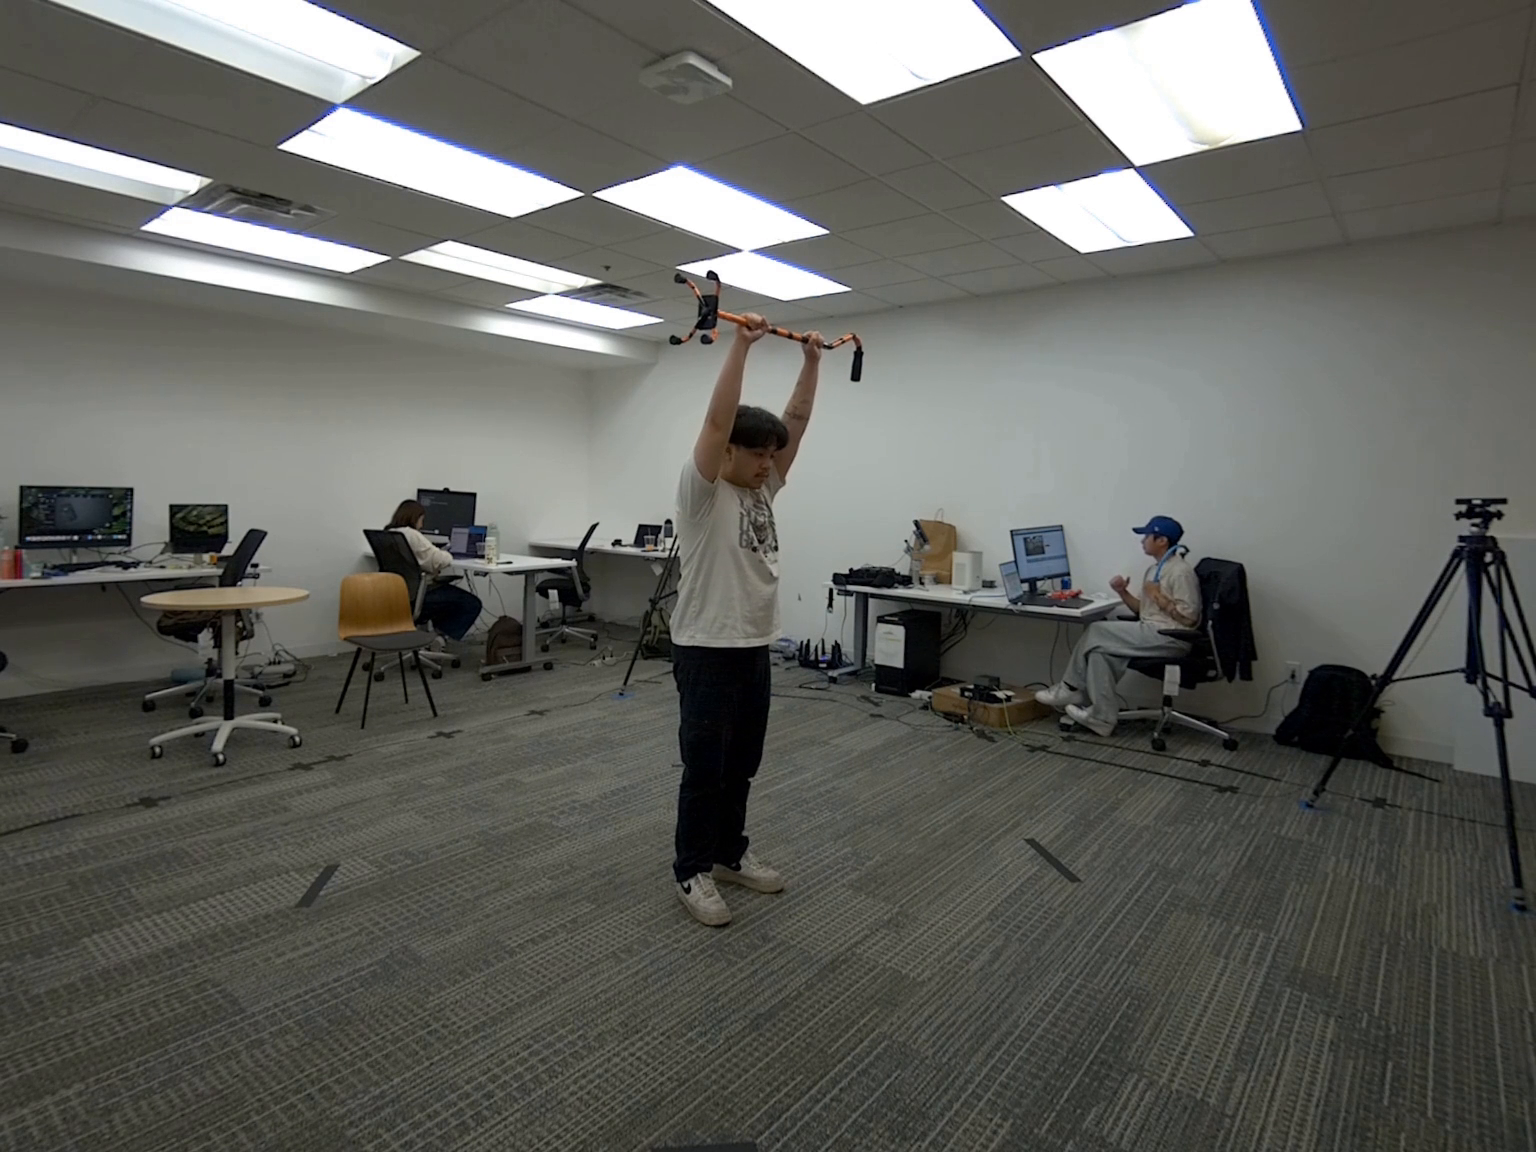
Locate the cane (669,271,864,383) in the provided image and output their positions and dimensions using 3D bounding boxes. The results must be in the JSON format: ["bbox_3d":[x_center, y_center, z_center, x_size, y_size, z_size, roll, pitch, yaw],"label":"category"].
[{"bbox_3d":[0.055,-0.784,2.752,0.157,0.205,0.881,12,10,38],"label":"cane"}]
